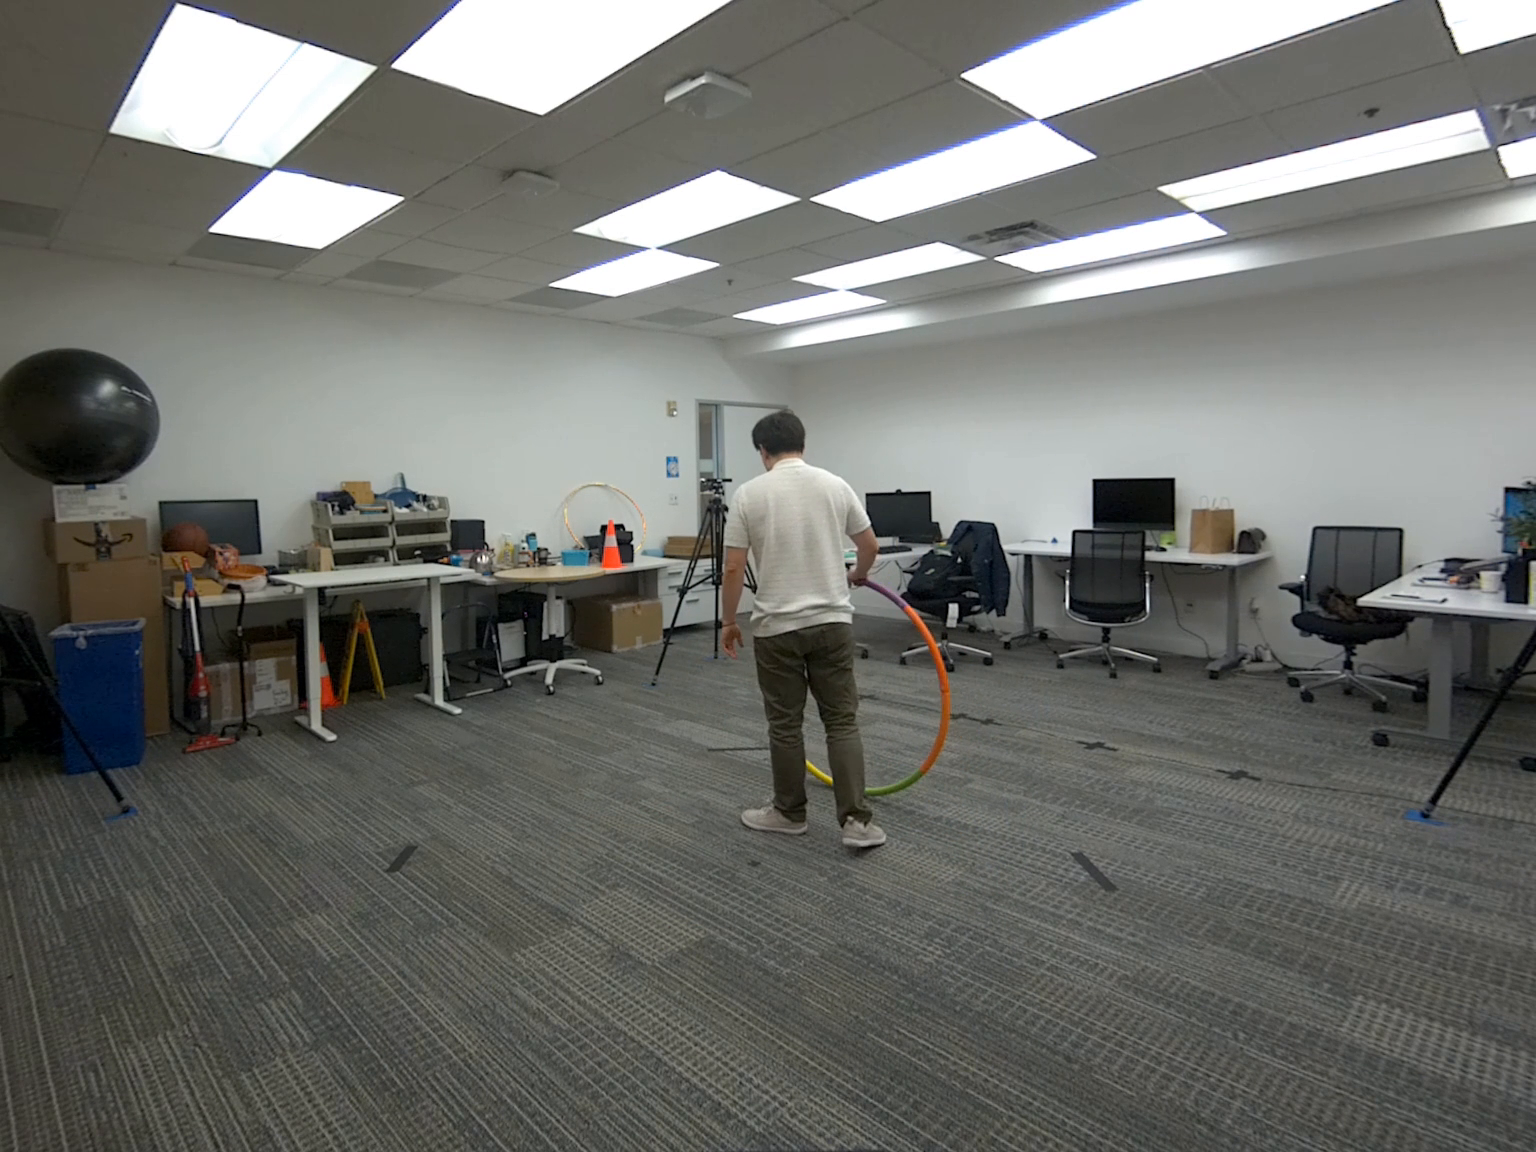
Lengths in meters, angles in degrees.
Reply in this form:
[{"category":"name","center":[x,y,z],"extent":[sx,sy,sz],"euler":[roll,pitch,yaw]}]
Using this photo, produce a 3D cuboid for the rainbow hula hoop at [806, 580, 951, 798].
[{"category":"rainbow hula hoop","center":[0.345,0.481,3.753],"extent":[1.009,0.974,0.034],"euler":[3,7,42]}]
